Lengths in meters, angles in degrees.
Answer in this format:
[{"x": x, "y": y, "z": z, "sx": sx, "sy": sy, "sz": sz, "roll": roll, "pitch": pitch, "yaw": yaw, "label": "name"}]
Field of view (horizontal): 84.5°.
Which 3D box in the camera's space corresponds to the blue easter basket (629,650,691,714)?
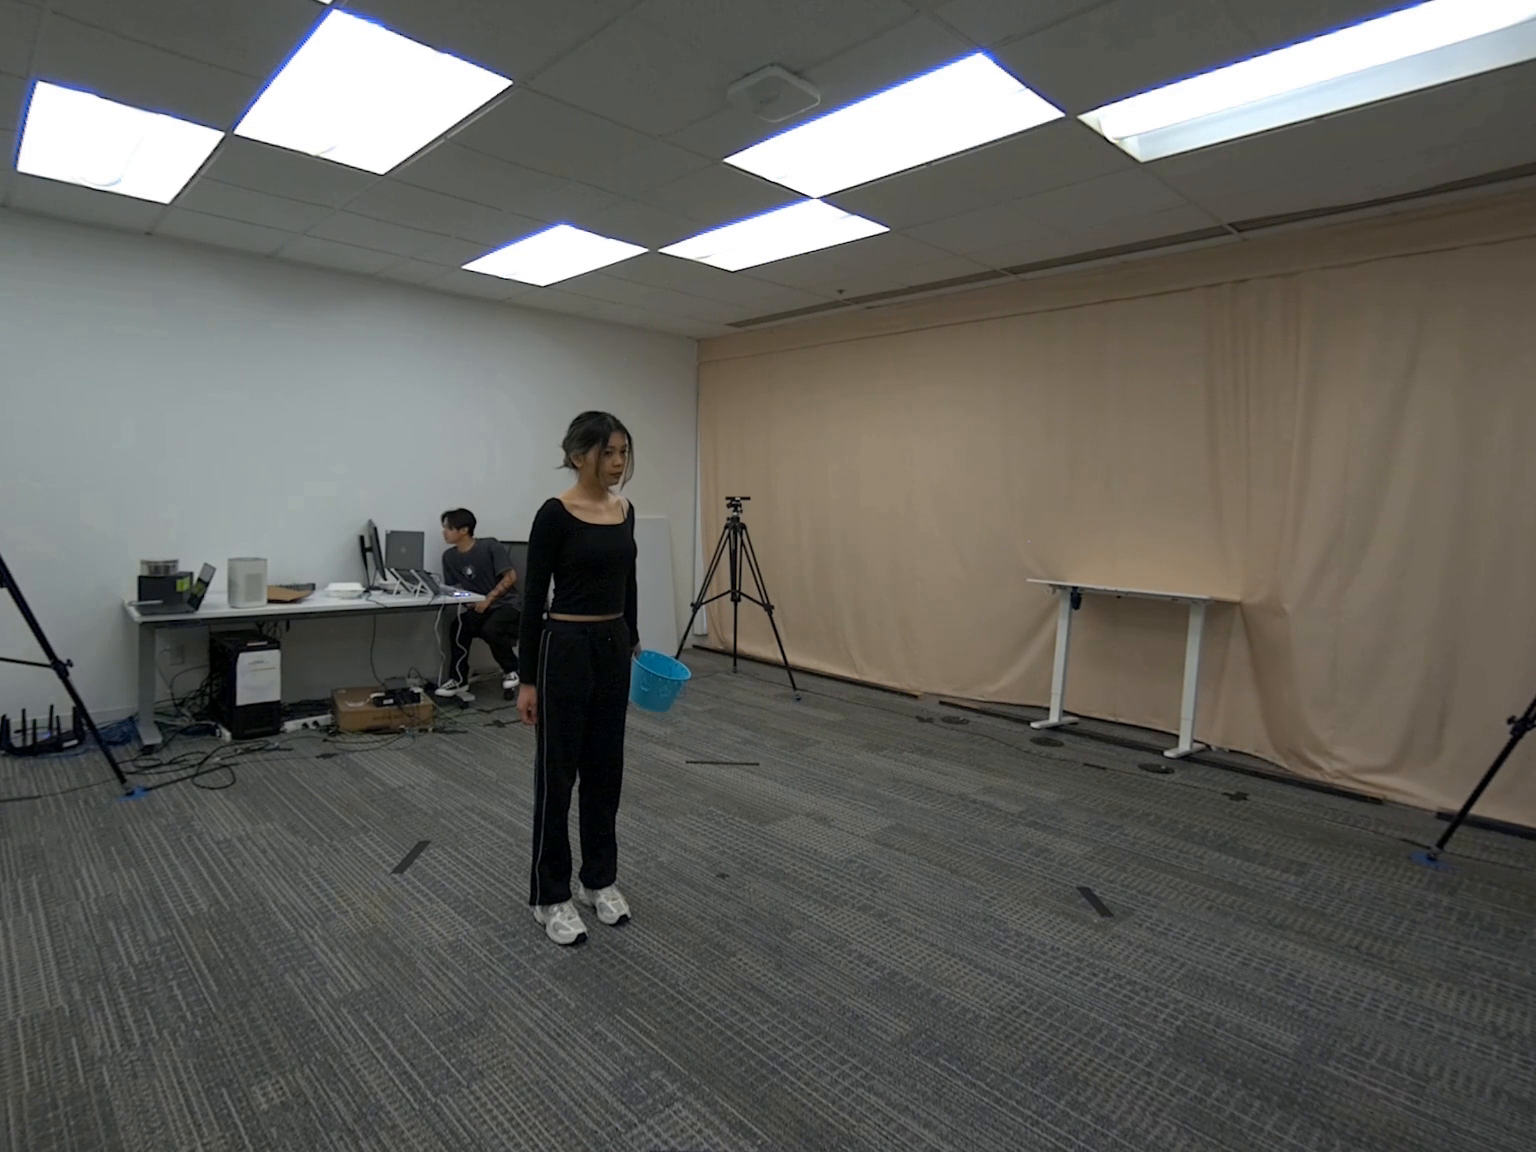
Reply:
[{"x": -0.420, "y": 0.403, "z": 3.144, "sx": 0.242, "sy": 0.155, "sz": 0.246, "roll": 21, "pitch": 12, "yaw": -6, "label": "blue easter basket"}]
